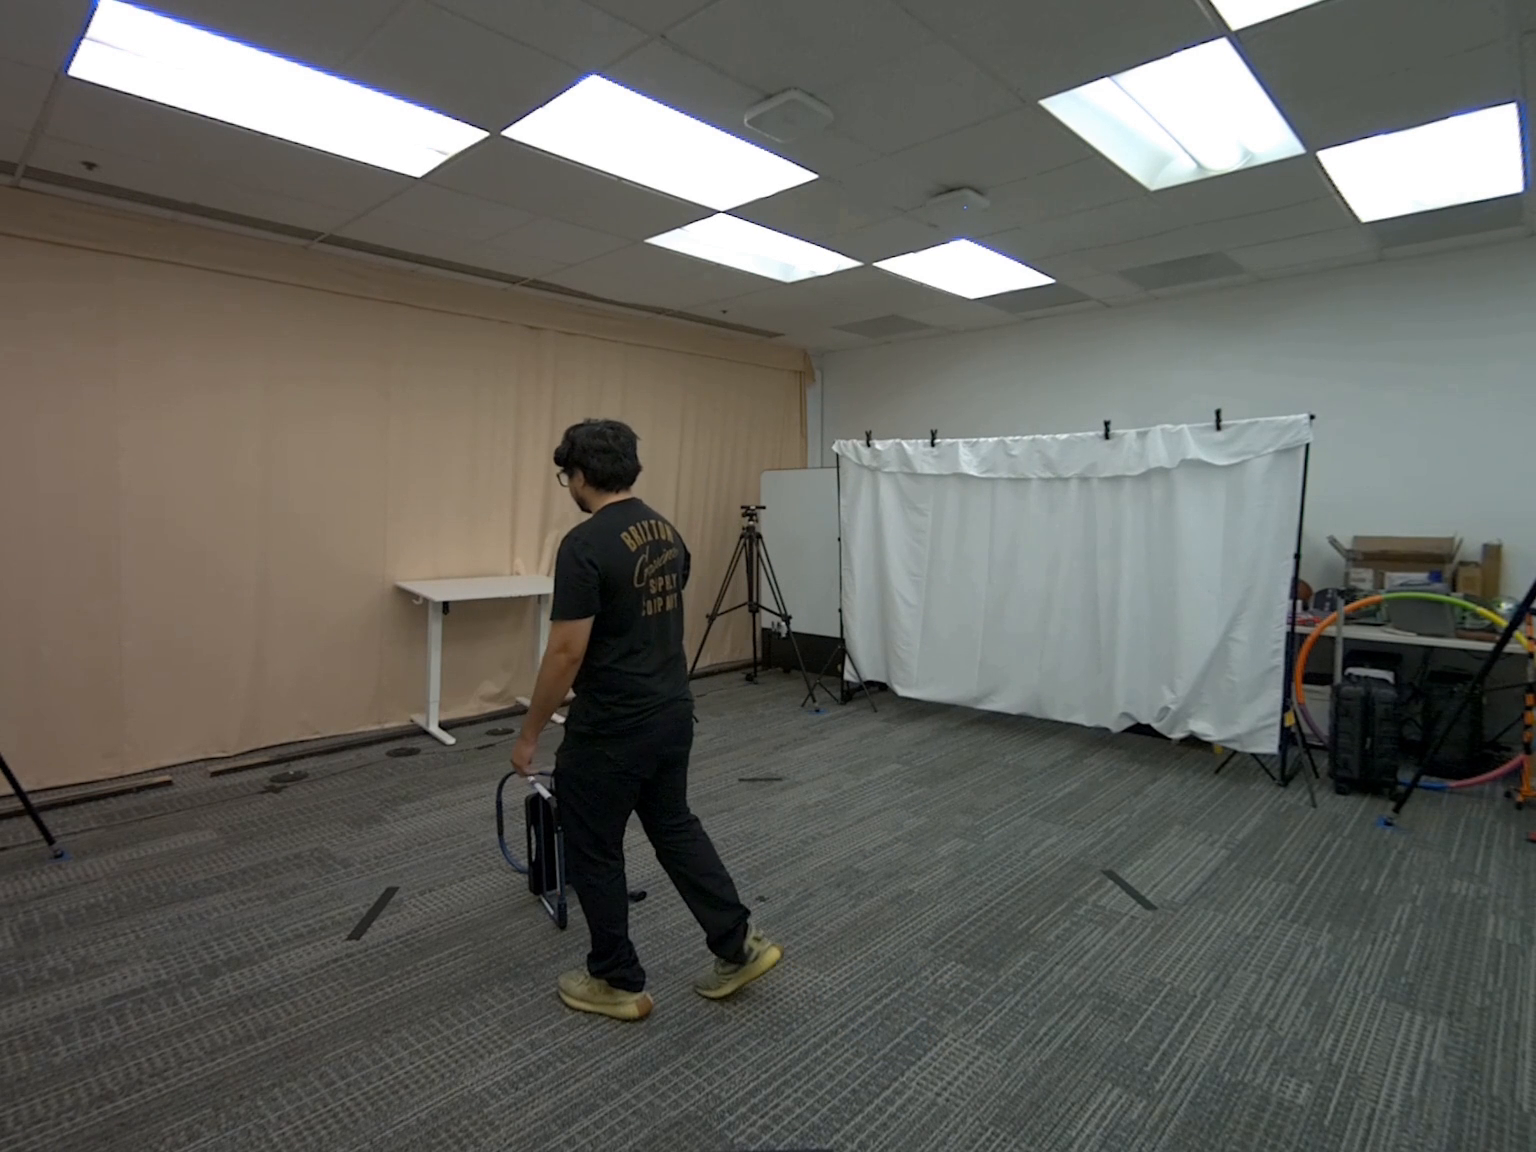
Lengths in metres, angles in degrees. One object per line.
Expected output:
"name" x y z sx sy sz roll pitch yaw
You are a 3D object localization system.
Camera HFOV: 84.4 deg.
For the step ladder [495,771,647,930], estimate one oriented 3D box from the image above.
"step ladder" -0.775 0.934 3.085 0.338 0.430 0.626 -3 3 -44
